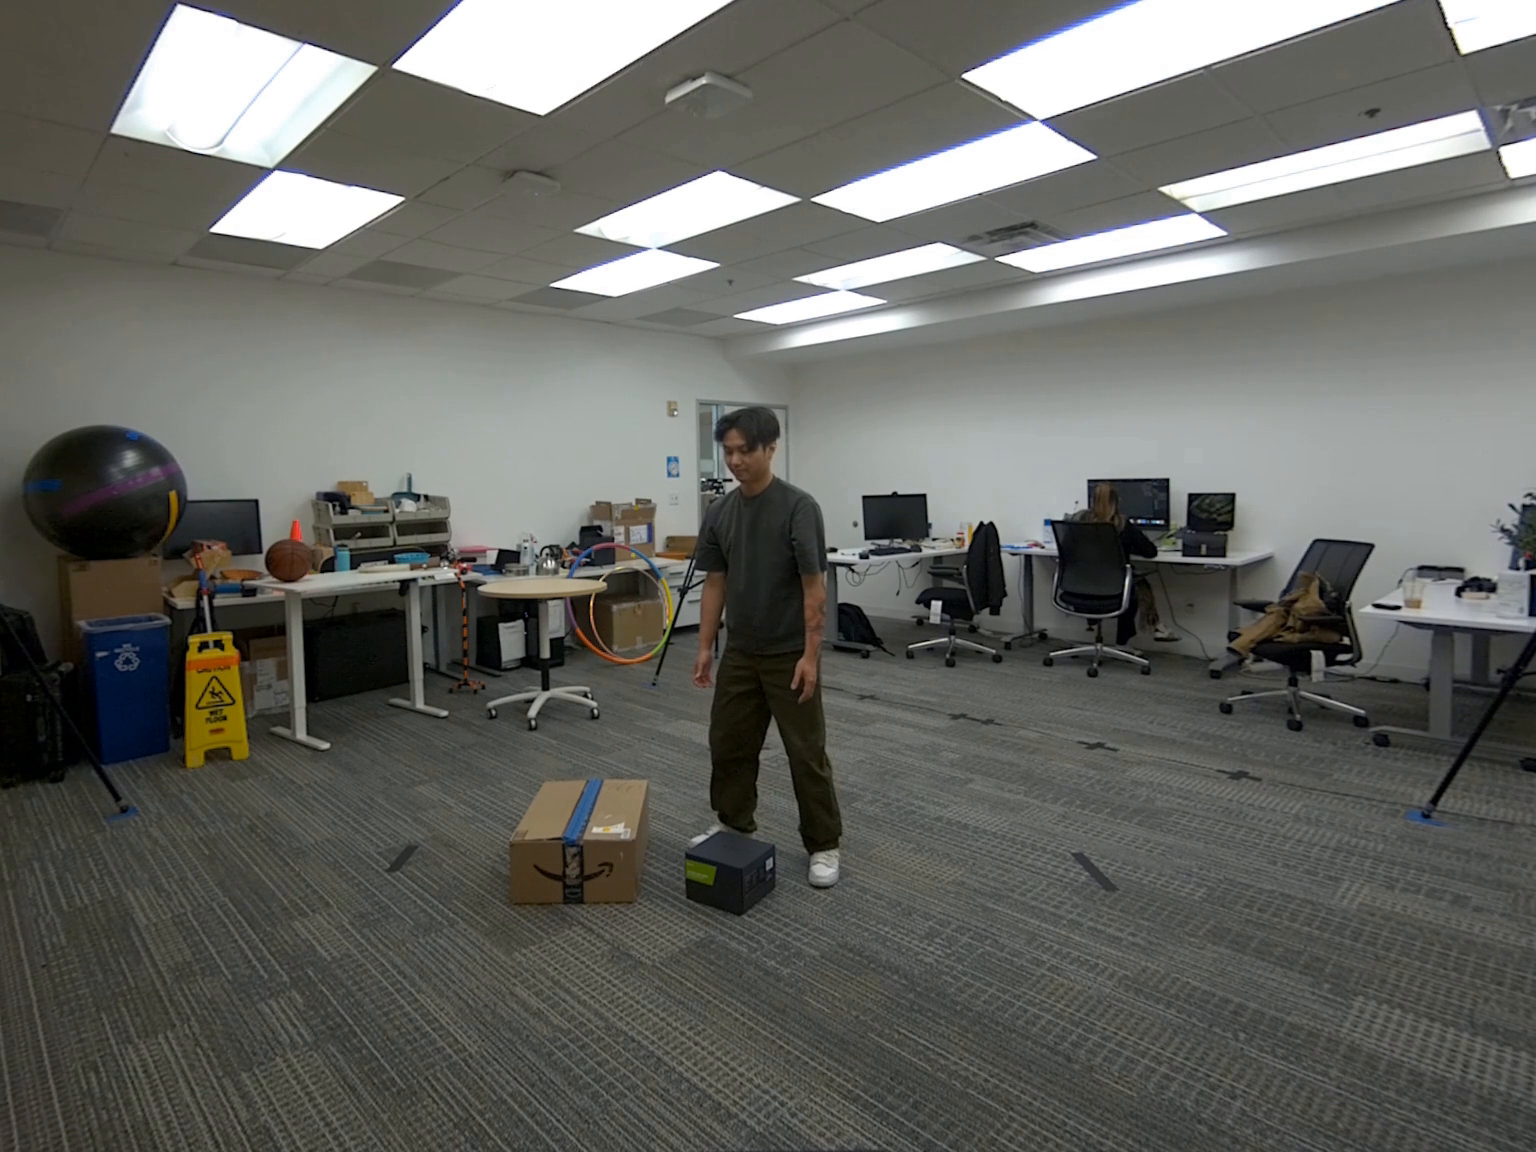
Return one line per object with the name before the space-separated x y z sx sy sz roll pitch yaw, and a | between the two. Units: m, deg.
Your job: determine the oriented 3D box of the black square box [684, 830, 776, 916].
black square box | -0.123 0.993 2.877 0.234 0.155 0.212 3 7 33
